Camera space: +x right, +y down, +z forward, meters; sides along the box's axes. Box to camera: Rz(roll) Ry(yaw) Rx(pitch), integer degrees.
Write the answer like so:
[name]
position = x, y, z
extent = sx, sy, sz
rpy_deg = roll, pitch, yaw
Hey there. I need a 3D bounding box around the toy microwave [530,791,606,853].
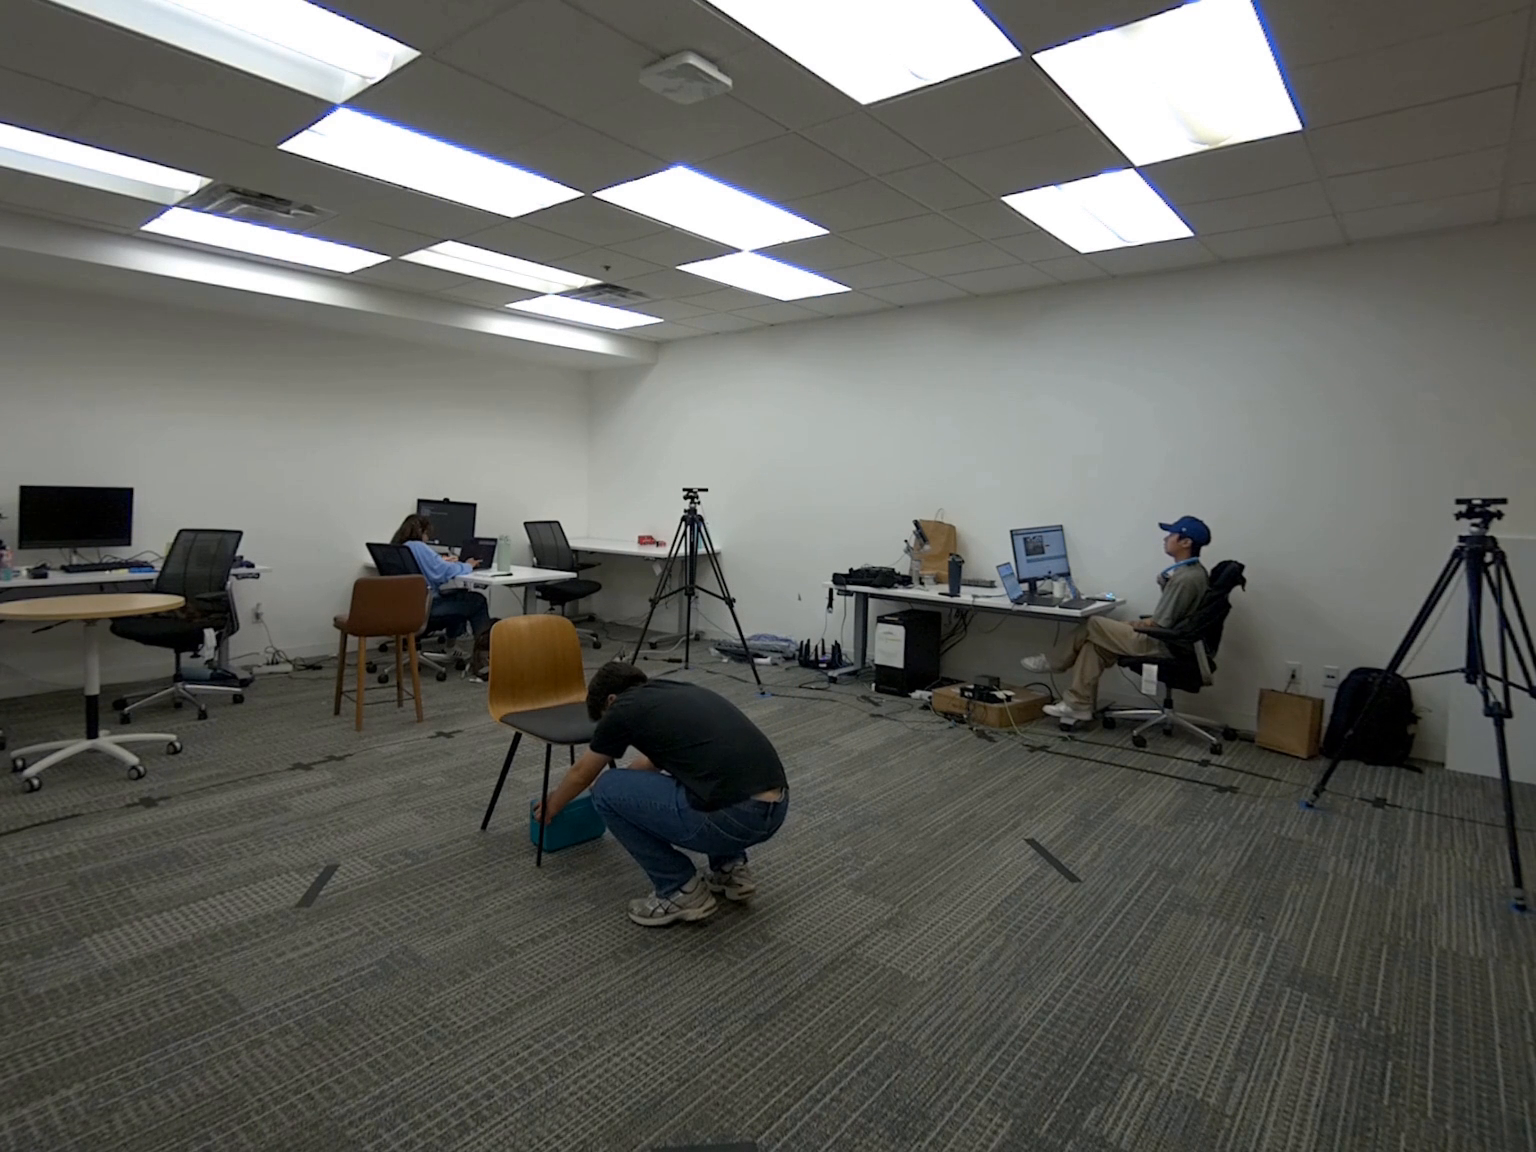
[toy microwave]
position = -0.803, 0.950, 3.346
extent = 0.278, 0.184, 0.157
rpy_deg = -5, 5, -45
